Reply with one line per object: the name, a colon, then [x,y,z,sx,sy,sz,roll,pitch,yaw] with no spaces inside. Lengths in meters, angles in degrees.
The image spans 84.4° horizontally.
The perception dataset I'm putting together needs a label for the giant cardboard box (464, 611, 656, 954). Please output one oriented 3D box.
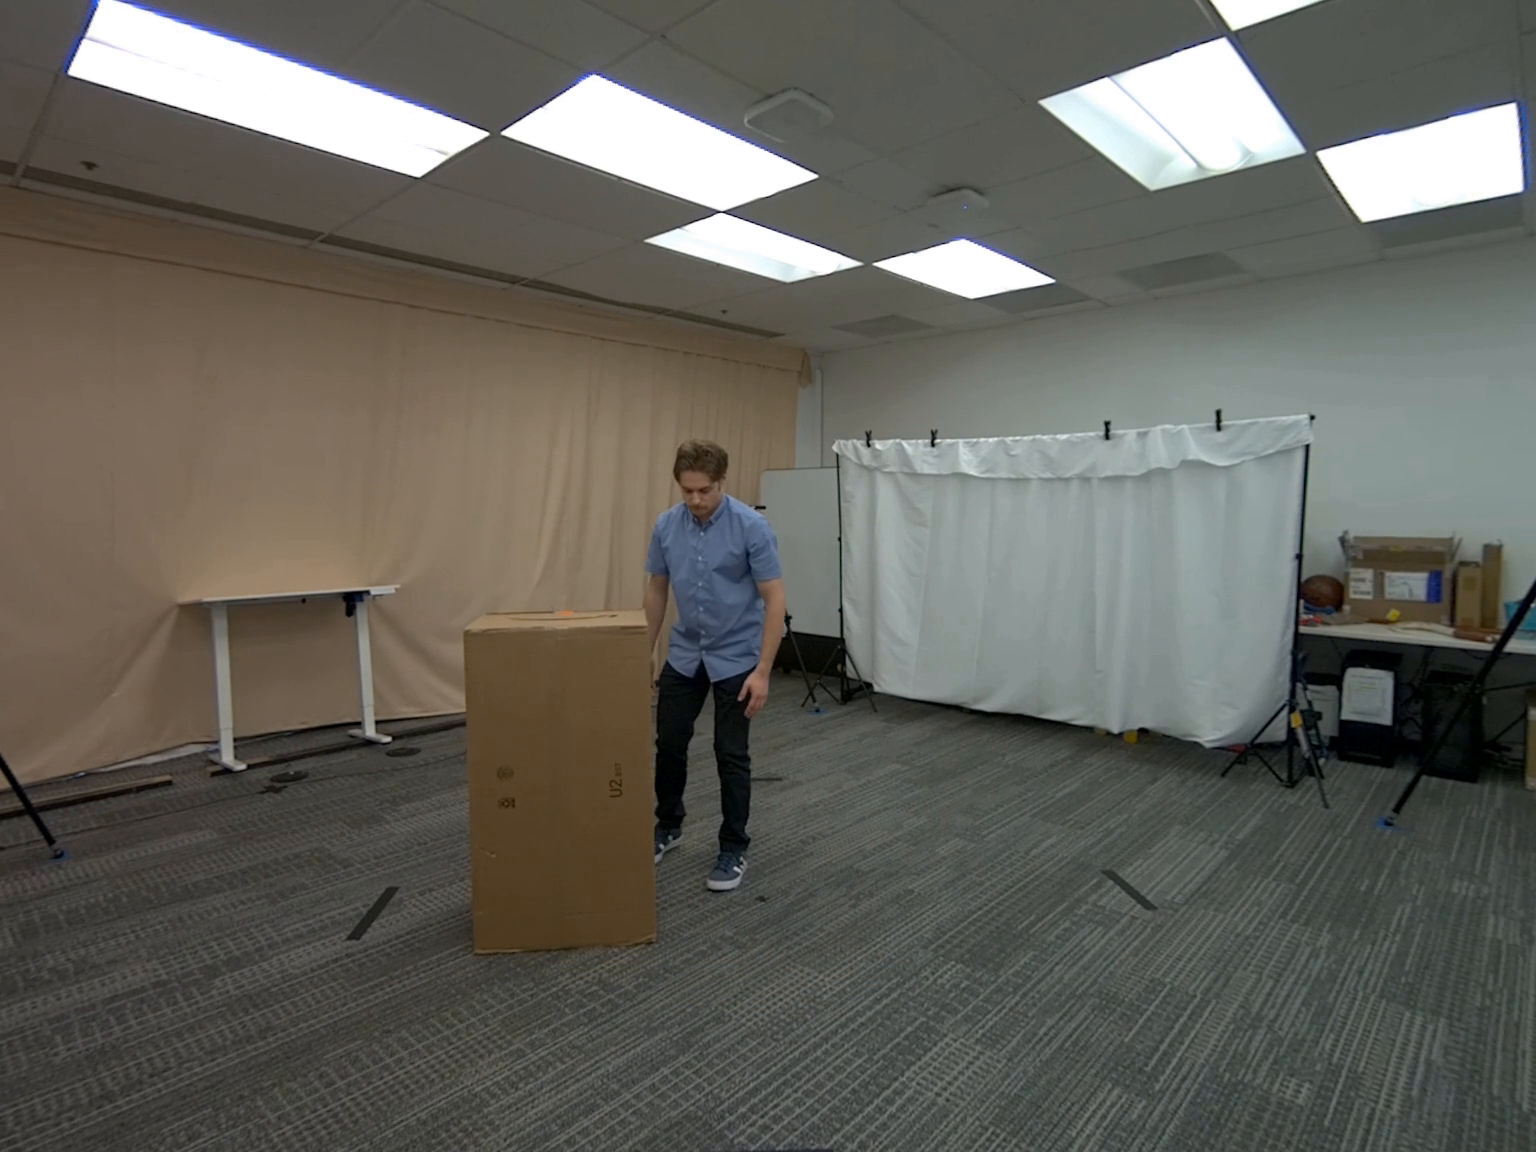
giant cardboard box: [-0.689,0.655,2.834,0.574,1.024,0.430,-1,3,-6]
